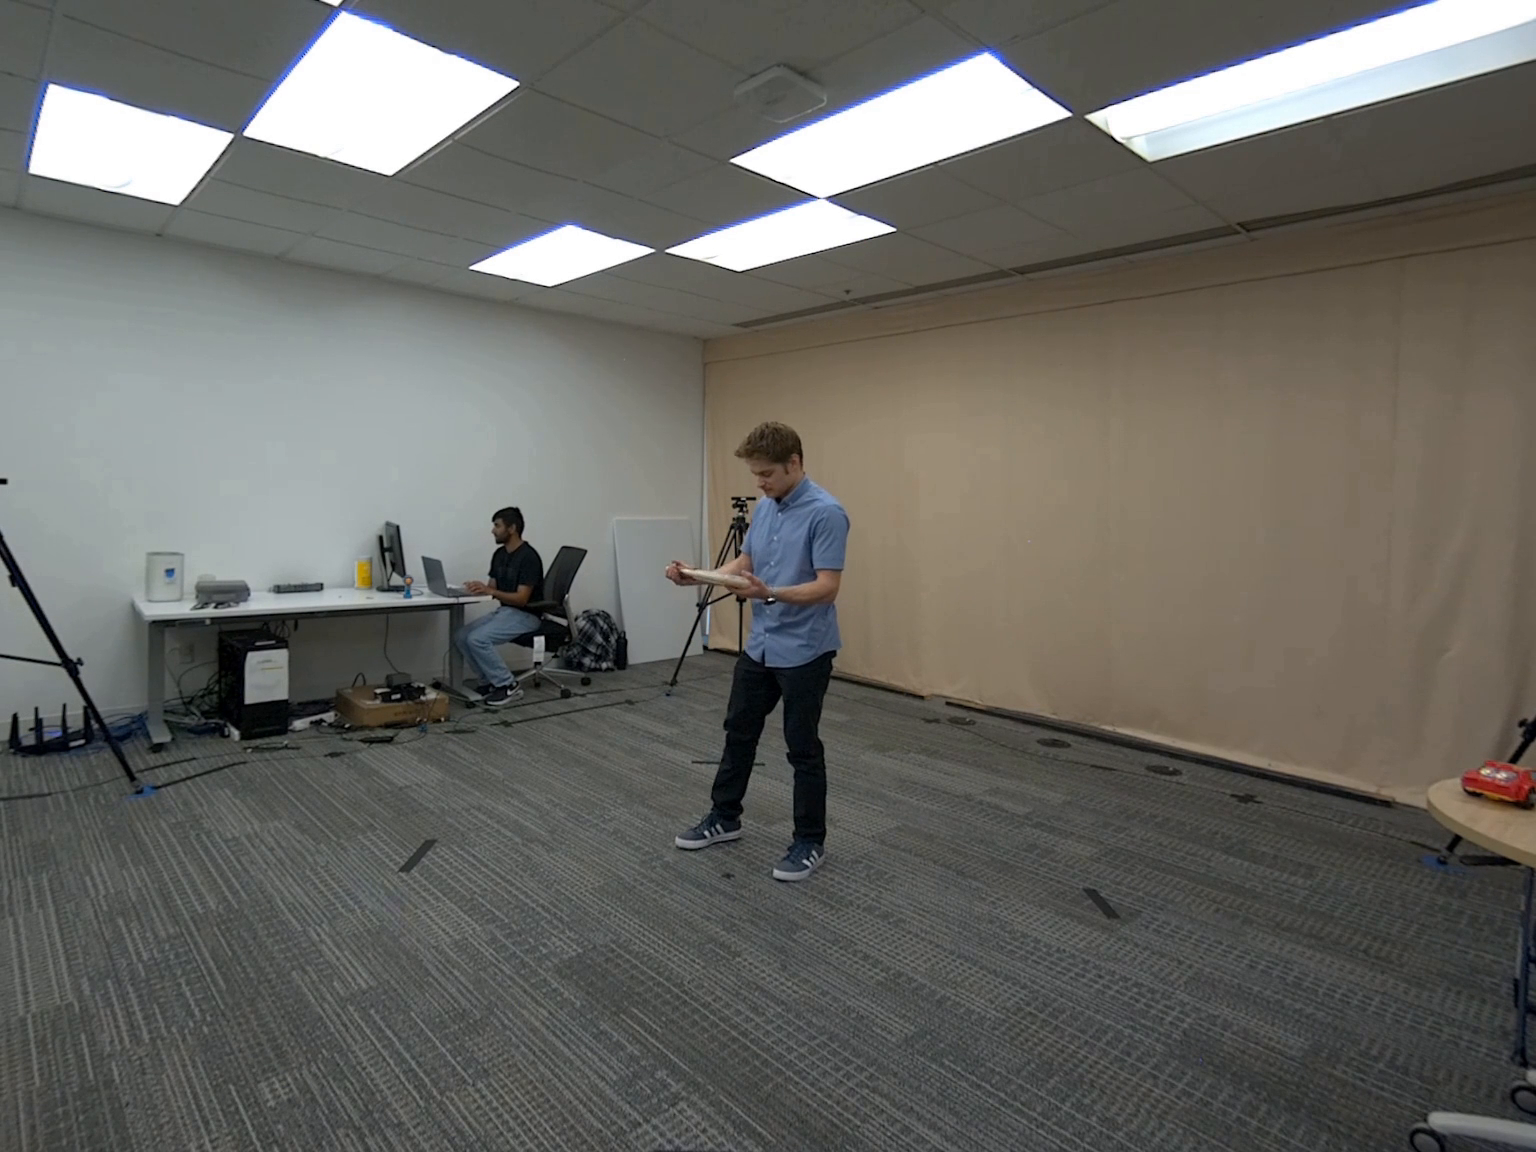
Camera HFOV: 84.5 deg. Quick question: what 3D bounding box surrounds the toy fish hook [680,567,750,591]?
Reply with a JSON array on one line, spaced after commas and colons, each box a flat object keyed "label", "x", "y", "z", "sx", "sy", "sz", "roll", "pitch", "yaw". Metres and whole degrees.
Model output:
[{"label": "toy fish hook", "x": -0.246, "y": -0.001, "z": 2.977, "sx": 0.520, "sy": 0.048, "sz": 0.218, "roll": 10, "pitch": -8, "yaw": 45}]
